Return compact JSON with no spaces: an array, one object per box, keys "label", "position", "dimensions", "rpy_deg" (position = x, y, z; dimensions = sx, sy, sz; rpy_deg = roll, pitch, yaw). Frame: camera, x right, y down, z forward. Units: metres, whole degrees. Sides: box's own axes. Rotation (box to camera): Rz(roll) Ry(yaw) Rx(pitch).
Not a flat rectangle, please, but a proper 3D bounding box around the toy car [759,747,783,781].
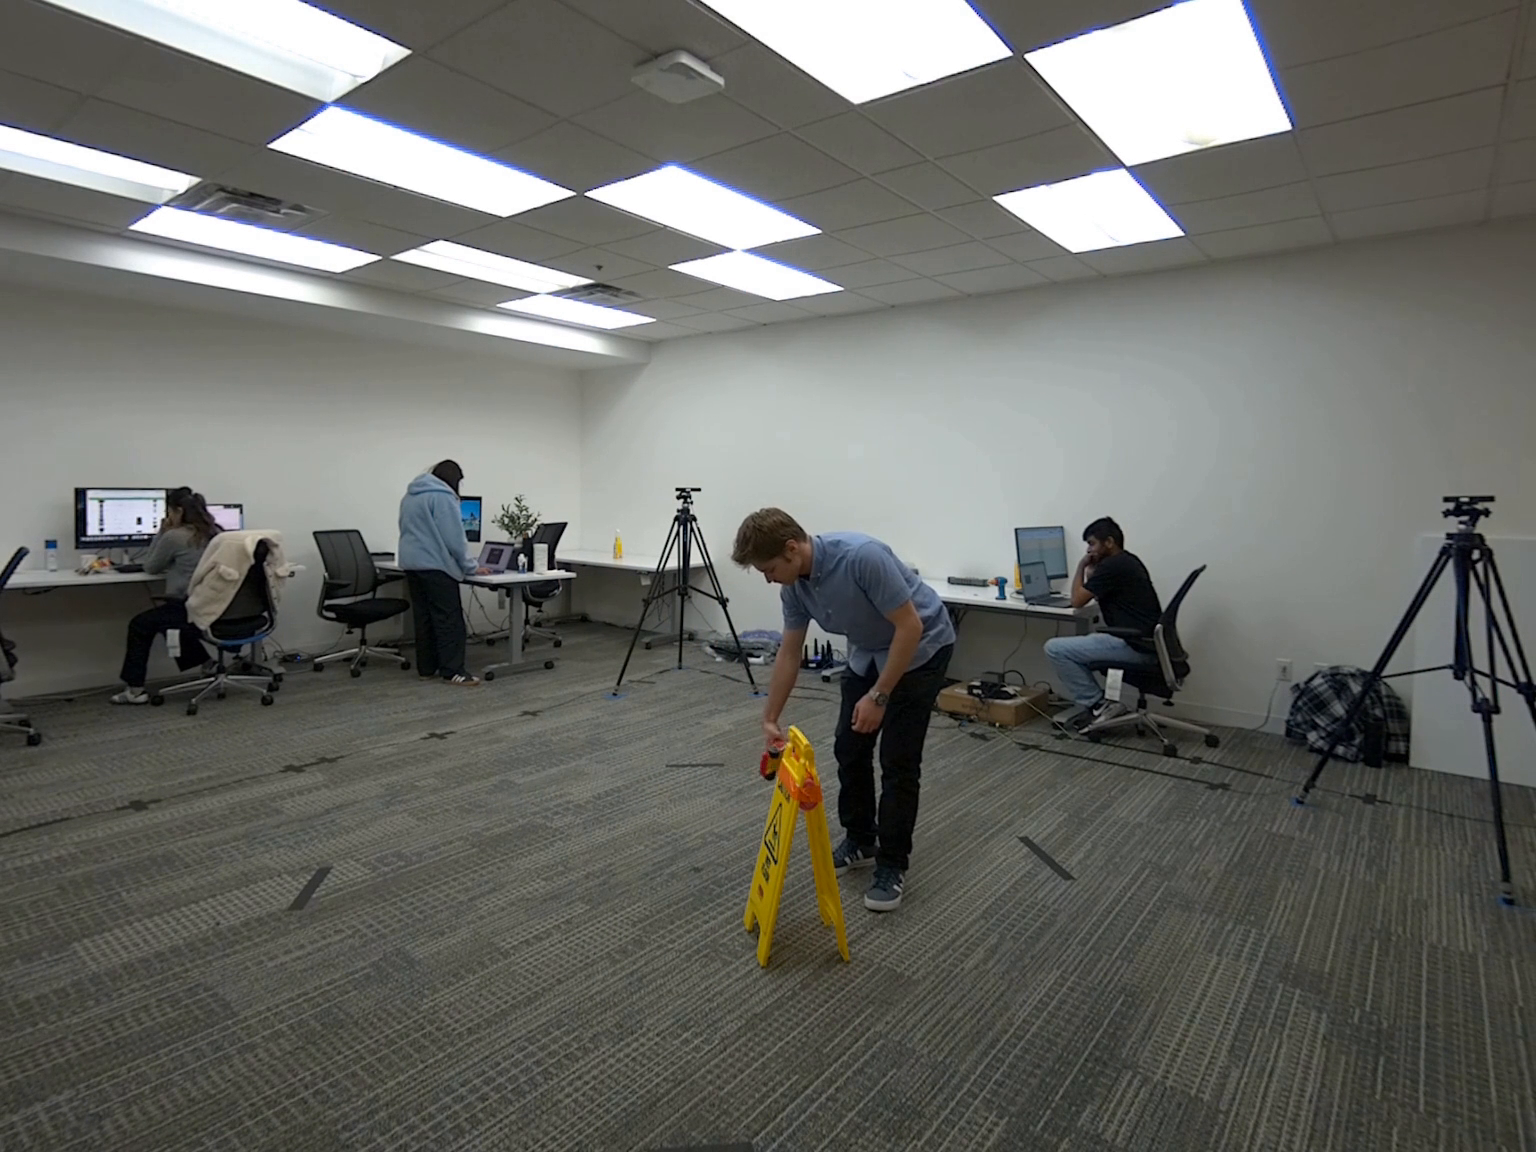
[{"label":"toy car","position":[0.058,0.633,3.039],"dimensions":[0.084,0.129,0.252],"rpy_deg":[23,10,9]}]
